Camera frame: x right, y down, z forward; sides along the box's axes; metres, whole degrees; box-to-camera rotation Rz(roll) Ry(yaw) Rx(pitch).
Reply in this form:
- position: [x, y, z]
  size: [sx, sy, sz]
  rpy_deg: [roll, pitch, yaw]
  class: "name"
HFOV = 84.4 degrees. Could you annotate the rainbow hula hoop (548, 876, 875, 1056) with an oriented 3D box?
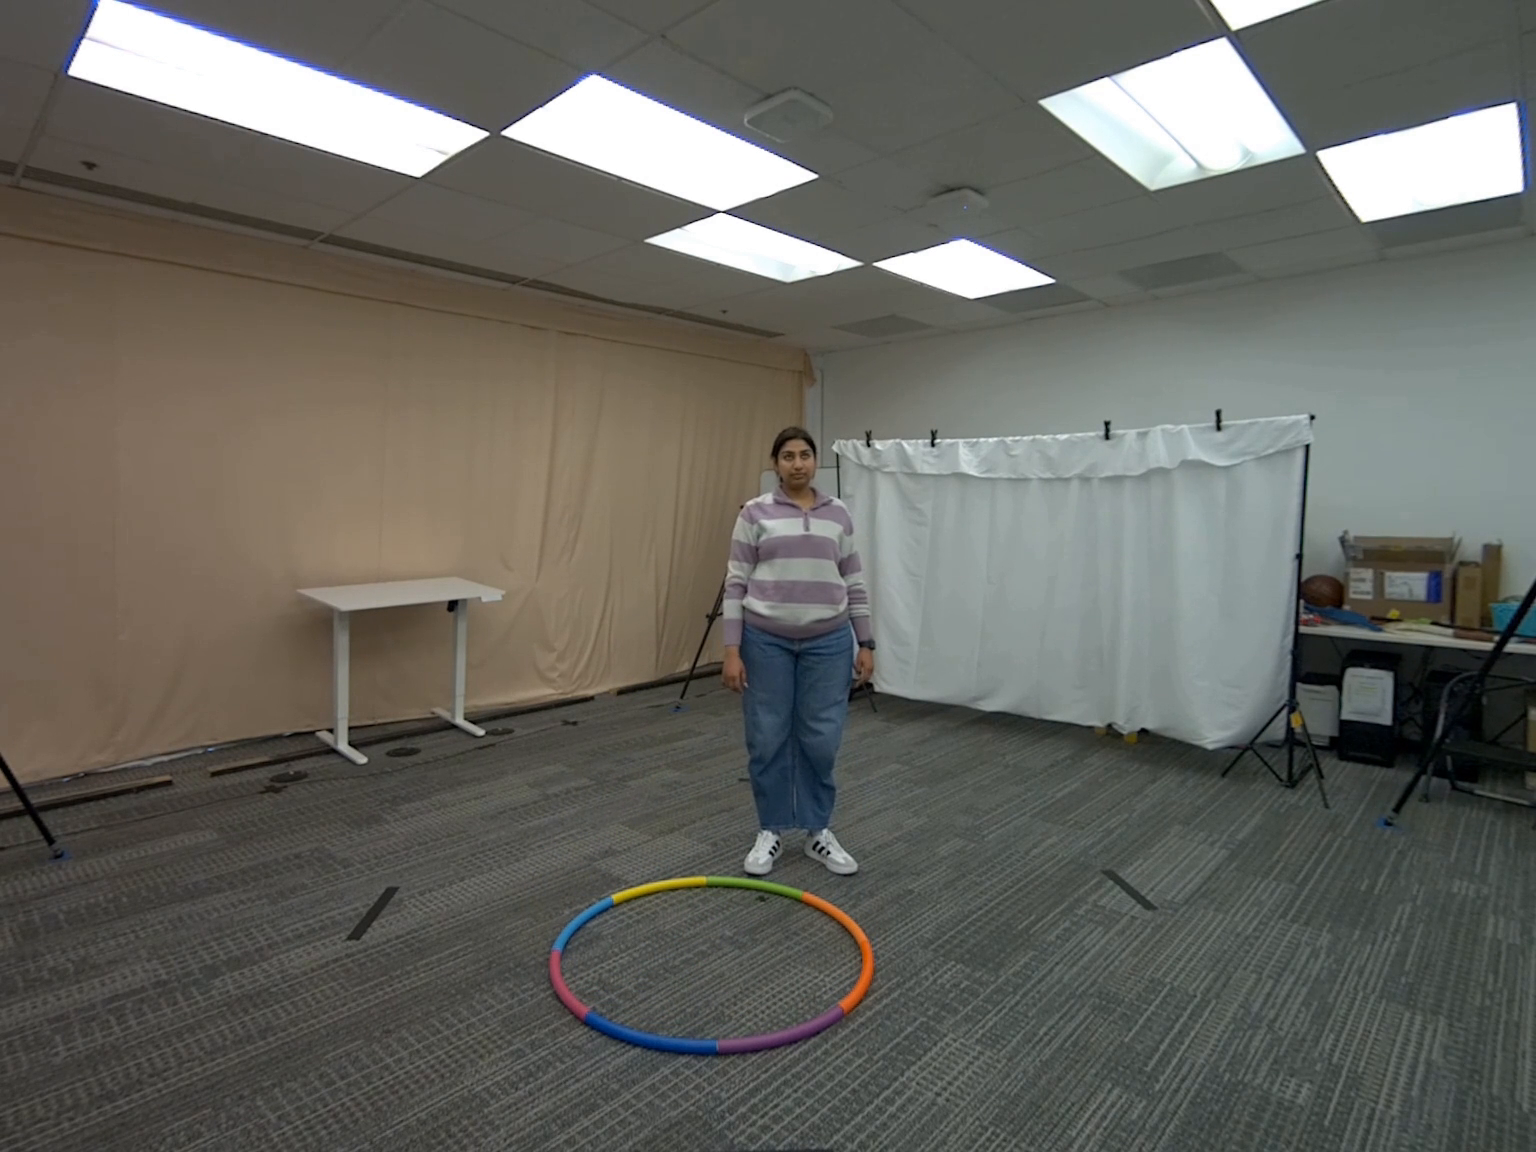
- position: [-0.177, 1.145, 2.617]
  size: [0.978, 0.035, 0.982]
  rpy_deg: [0, 5, -2]
  class: "rainbow hula hoop"
